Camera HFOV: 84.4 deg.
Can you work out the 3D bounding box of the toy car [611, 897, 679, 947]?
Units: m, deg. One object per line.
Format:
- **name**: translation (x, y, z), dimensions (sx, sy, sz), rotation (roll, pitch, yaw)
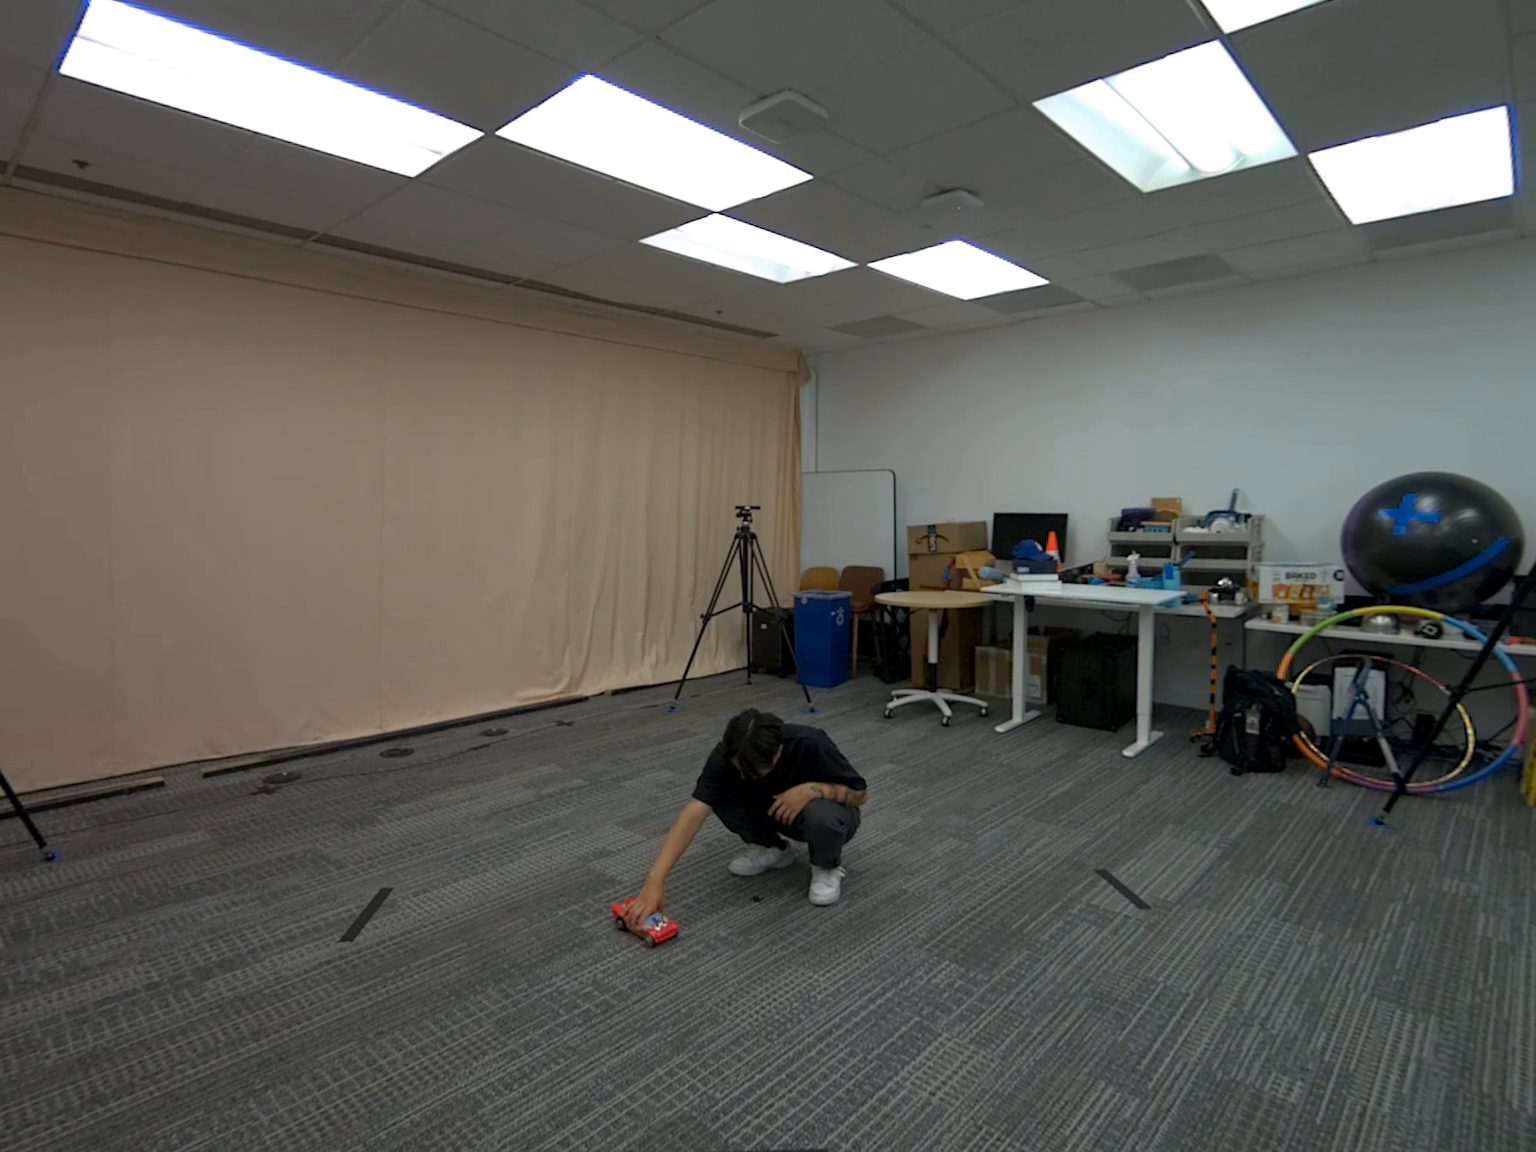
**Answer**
- **toy car**: translation (-0.410, 1.133, 2.765), dimensions (0.126, 0.083, 0.264), rotation (-6, 18, -45)
